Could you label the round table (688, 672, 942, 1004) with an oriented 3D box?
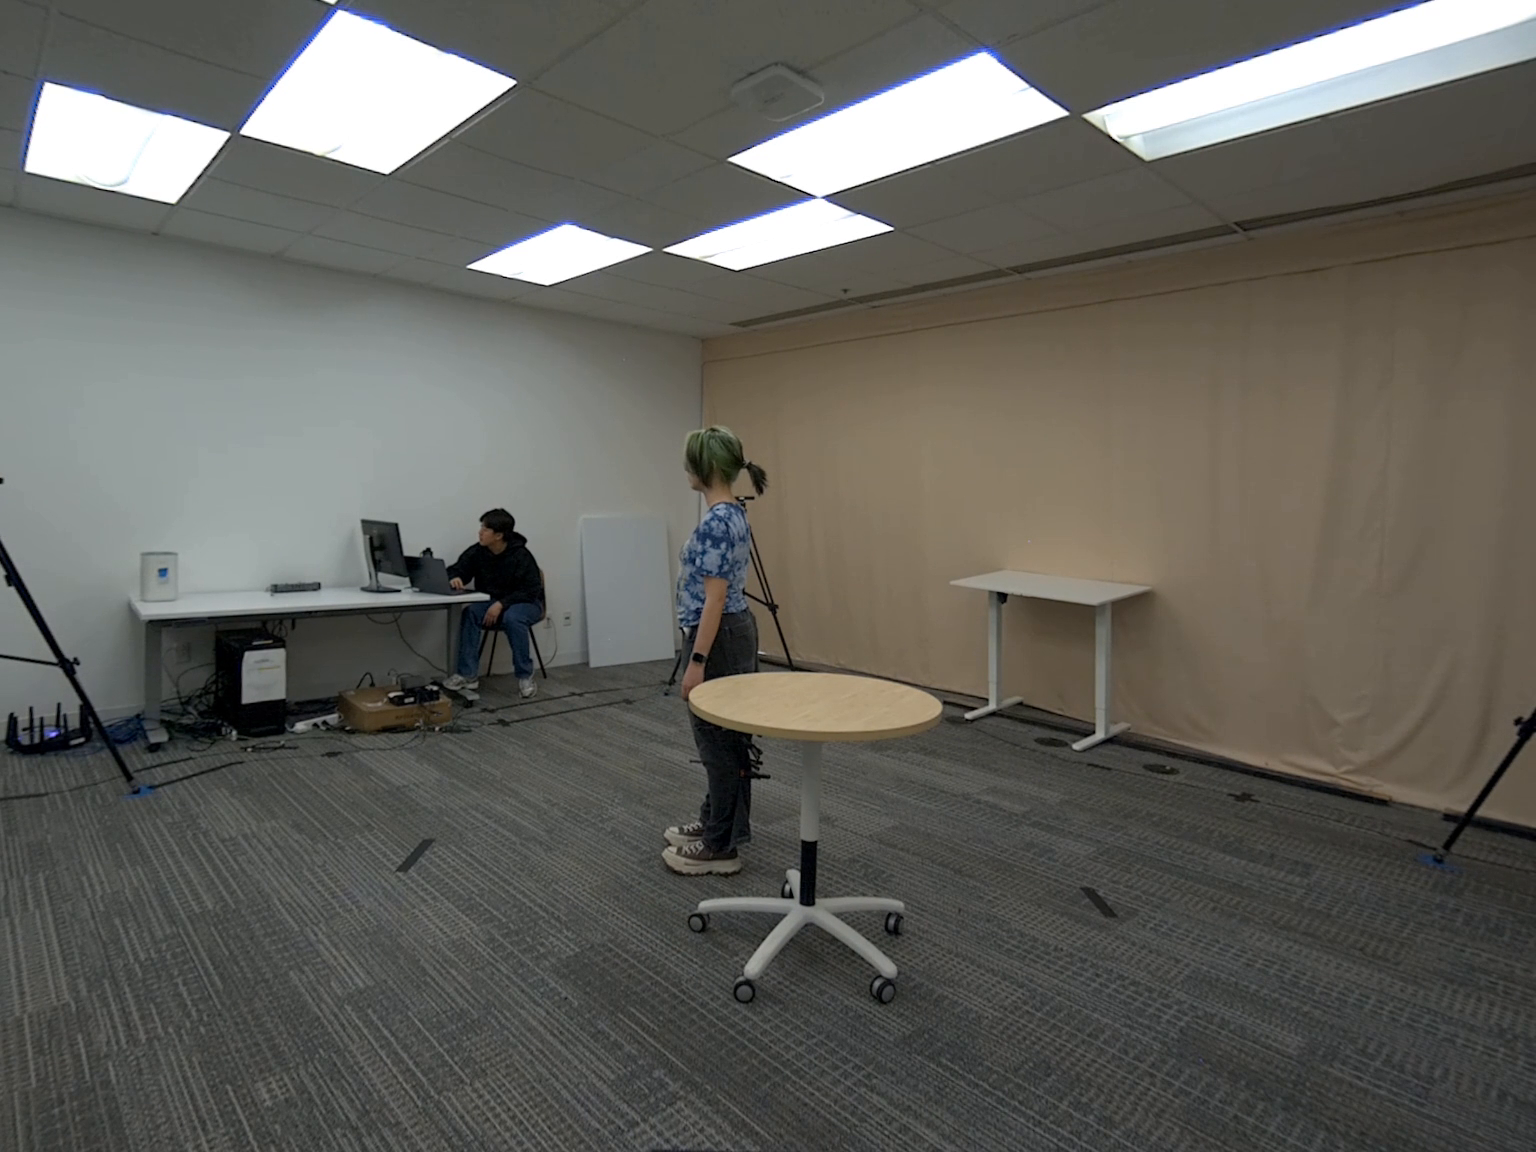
[{"bbox_3d":[0.121,0.767,2.597,0.763,0.792,0.767,2,4,-1],"label":"round table"}]
